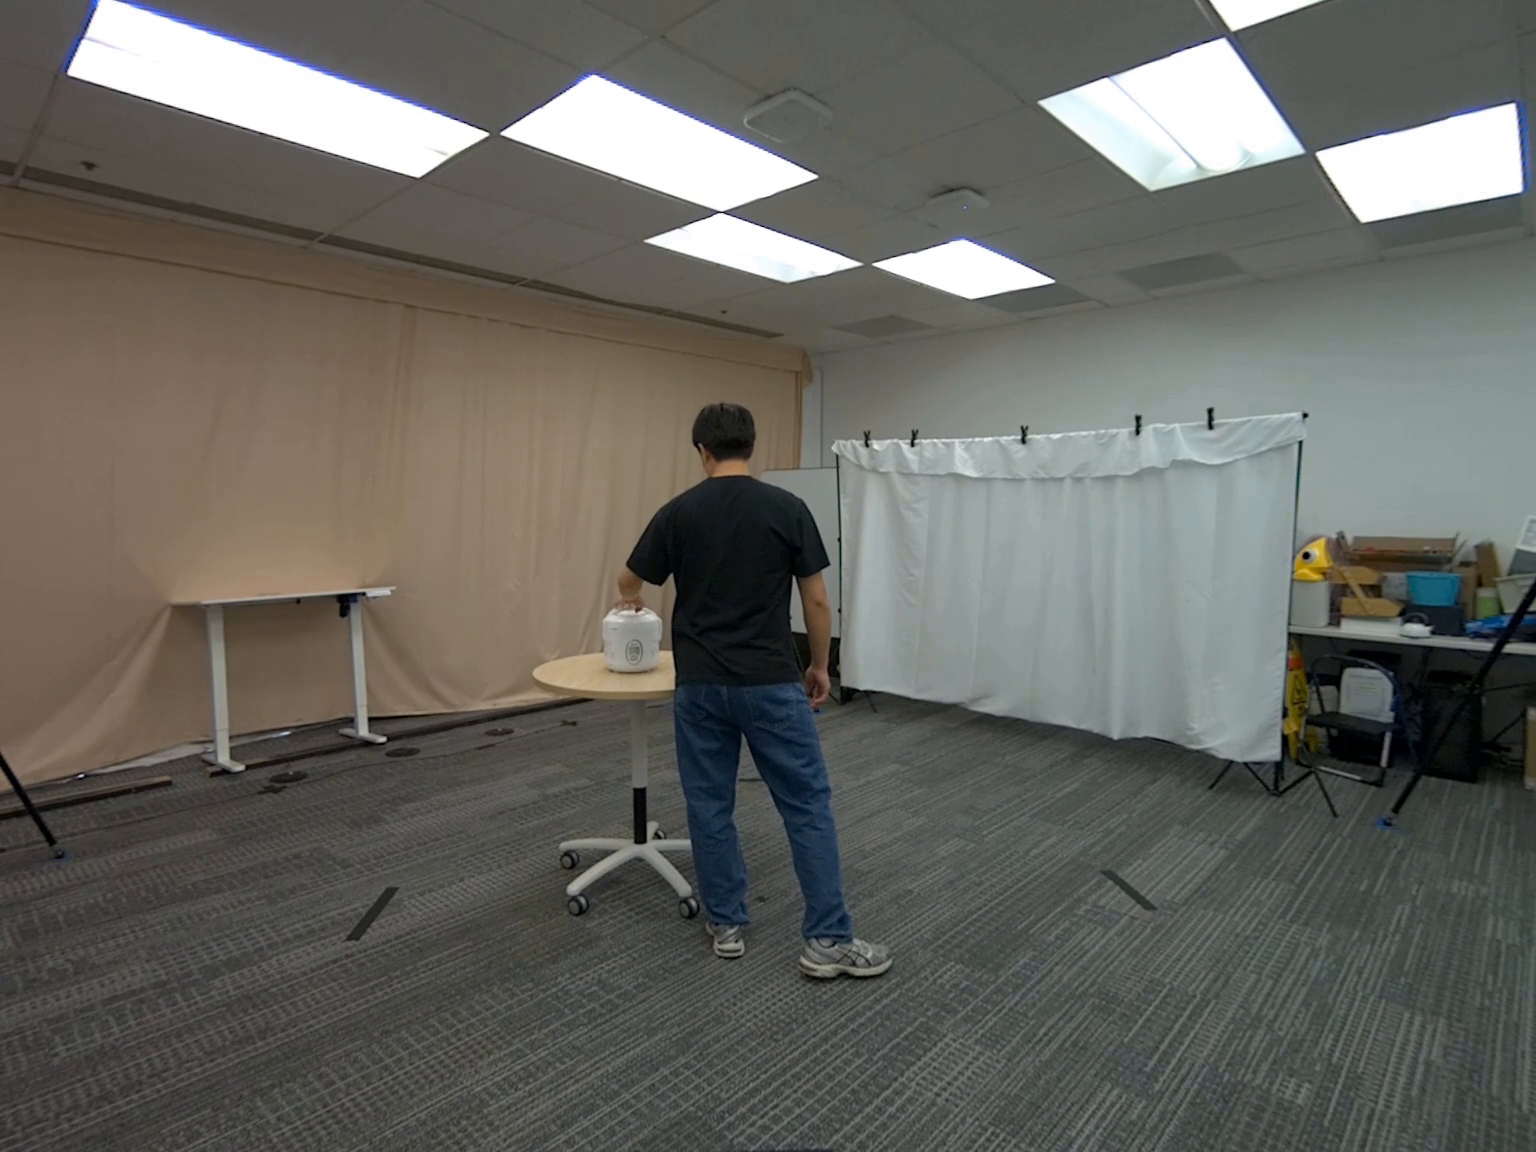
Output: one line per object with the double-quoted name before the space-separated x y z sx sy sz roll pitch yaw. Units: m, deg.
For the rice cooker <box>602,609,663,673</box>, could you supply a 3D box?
"rice cooker" -0.499 0.227 3.102 0.218 0.232 0.221 -2 4 -12
